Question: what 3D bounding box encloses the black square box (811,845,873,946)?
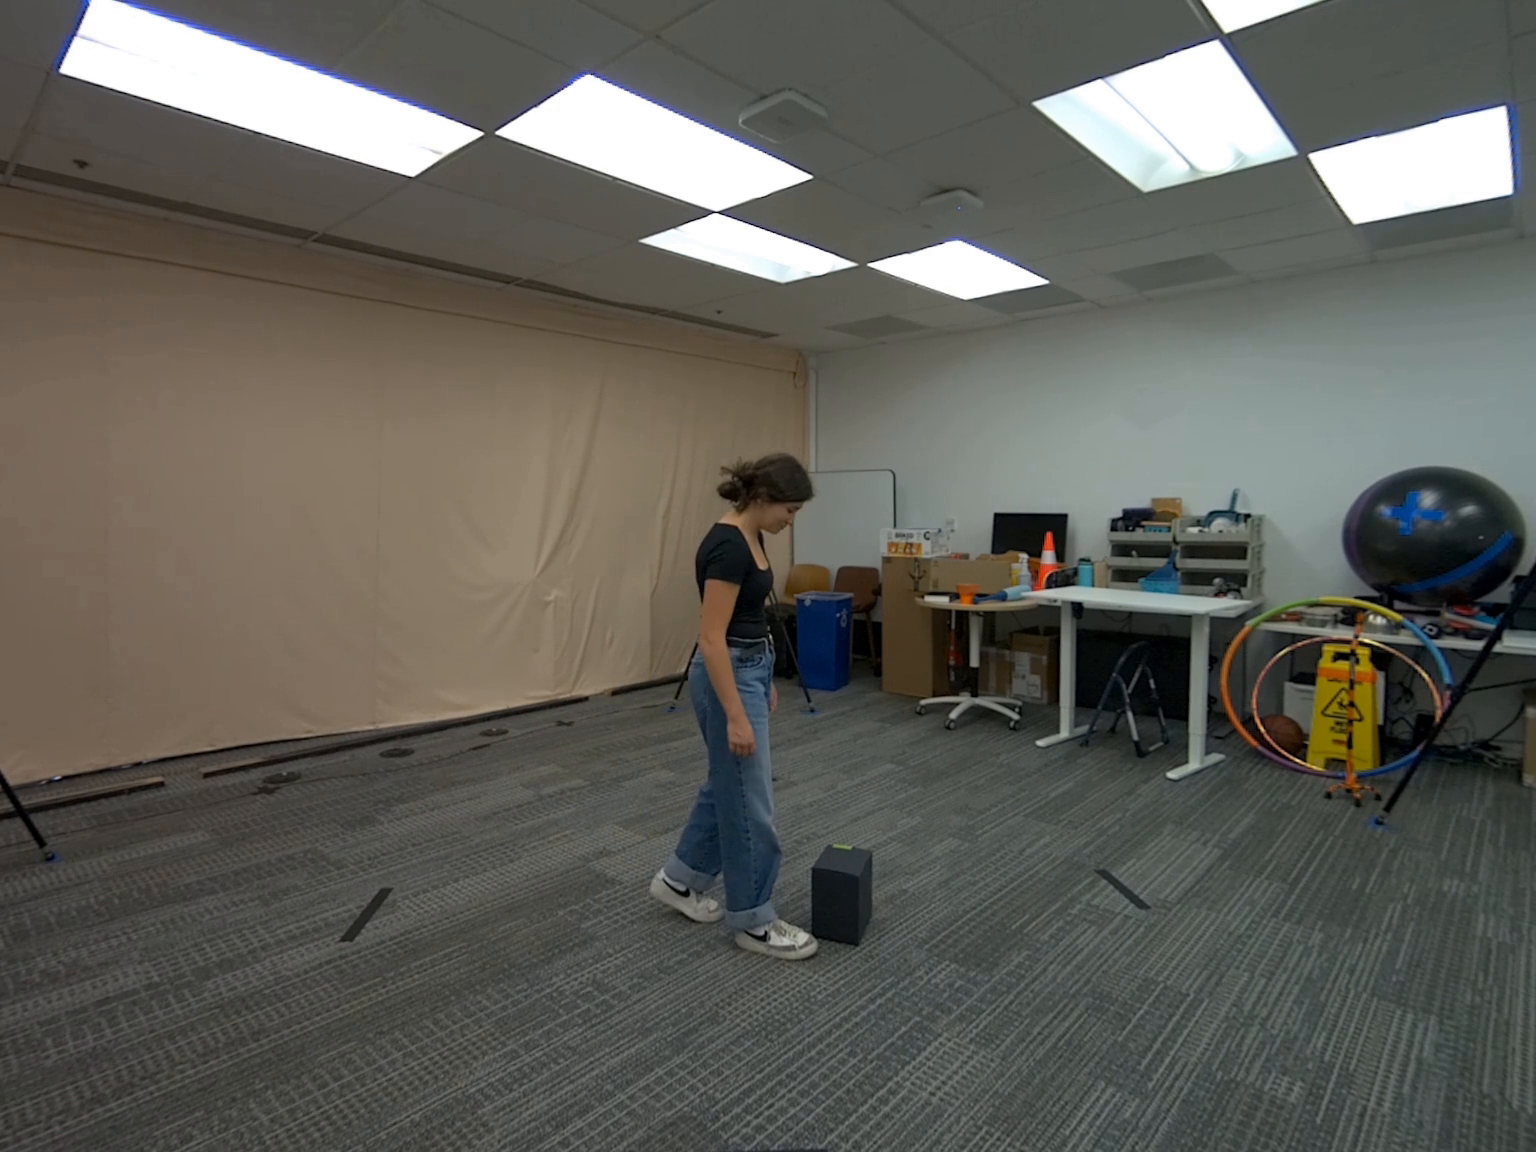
[{"bbox_3d":[0.253,1.045,2.775,0.159,0.227,0.213,2,4,20],"label":"black square box"}]
